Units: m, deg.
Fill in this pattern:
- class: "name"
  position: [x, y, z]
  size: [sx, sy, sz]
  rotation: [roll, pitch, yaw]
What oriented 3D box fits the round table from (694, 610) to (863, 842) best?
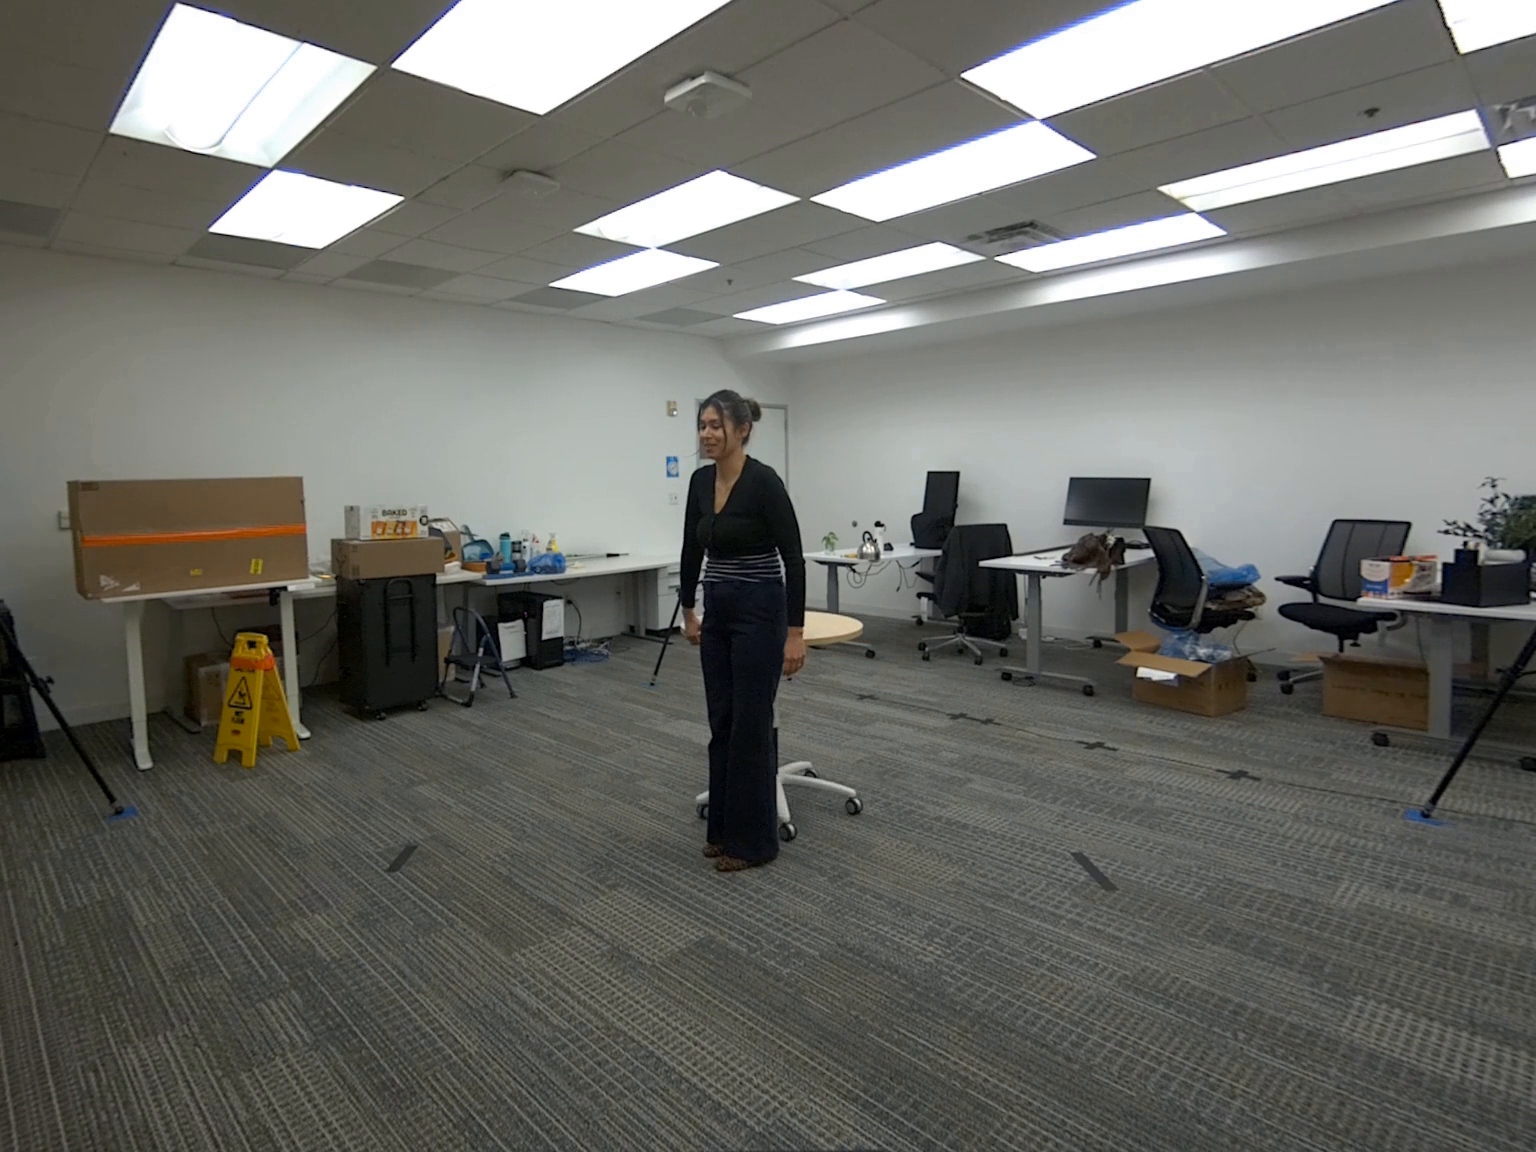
- class: "round table"
  position: [0.019, 0.596, 3.635]
  size: [0.763, 0.791, 0.768]
  rotation: [-1, 5, -2]
